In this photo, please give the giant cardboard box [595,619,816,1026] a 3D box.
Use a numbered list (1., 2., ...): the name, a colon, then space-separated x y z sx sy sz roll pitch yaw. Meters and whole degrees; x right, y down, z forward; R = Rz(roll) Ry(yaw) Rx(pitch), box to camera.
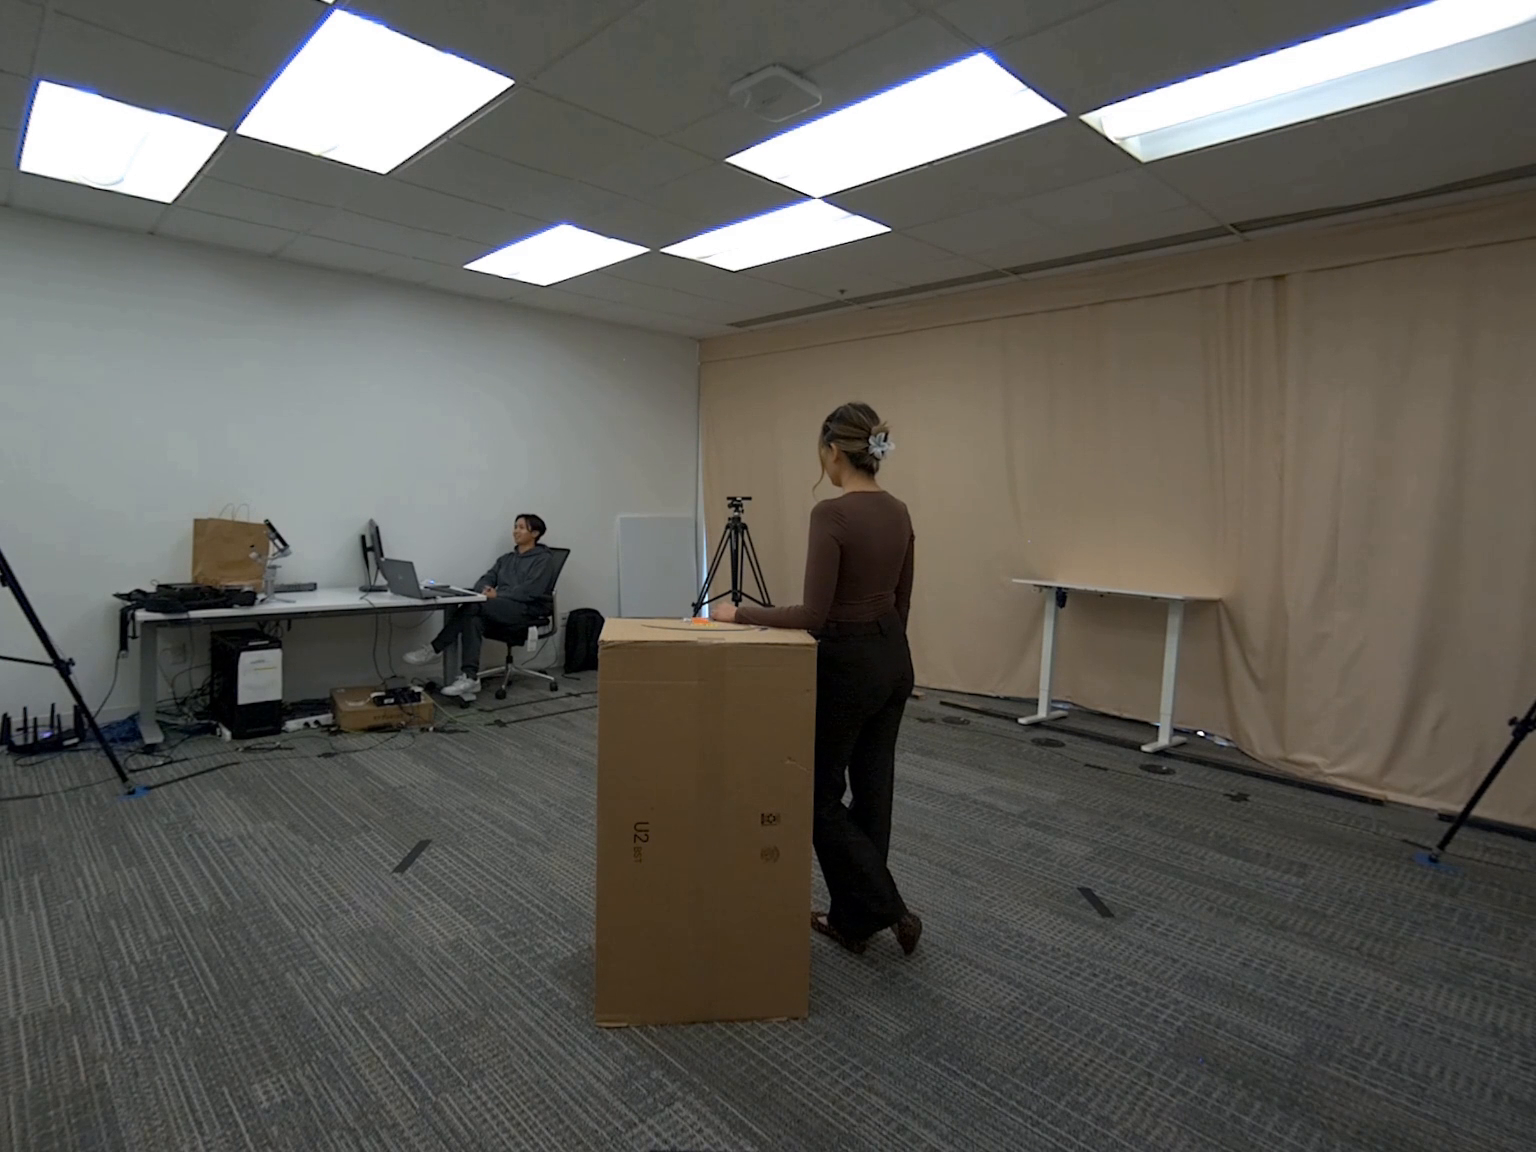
1. giant cardboard box: -0.201 0.662 2.408 0.580 1.024 0.451 1 3 -8
